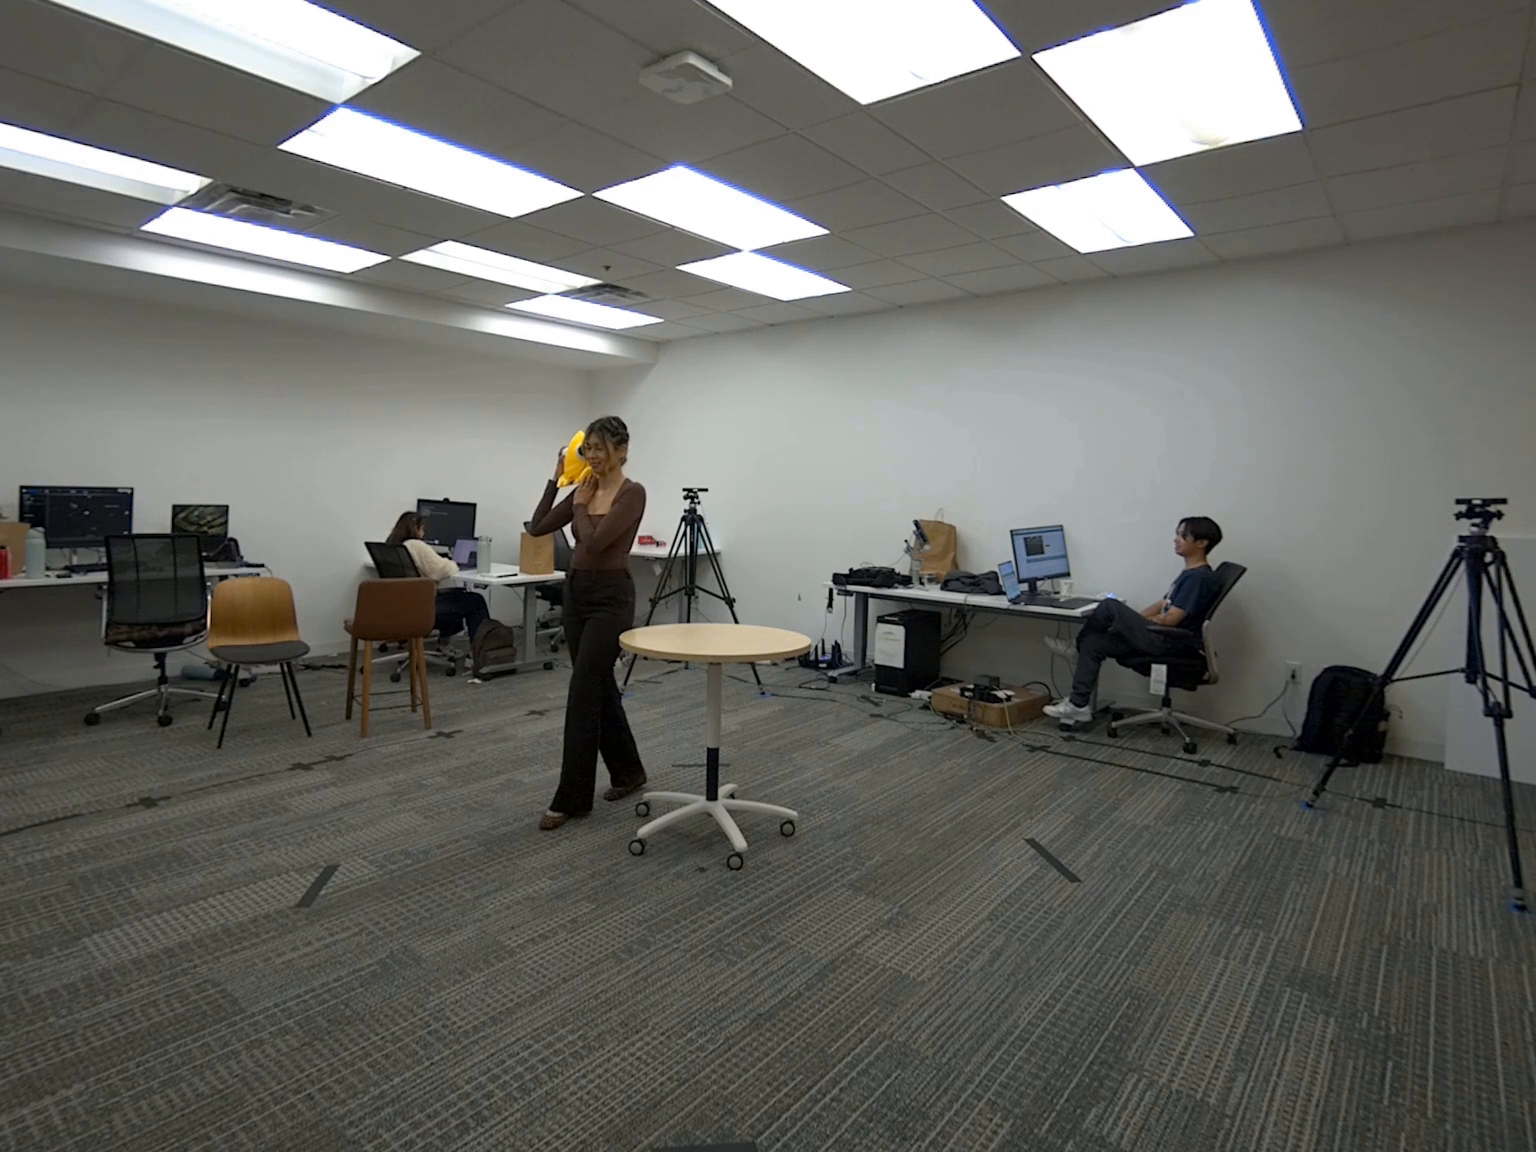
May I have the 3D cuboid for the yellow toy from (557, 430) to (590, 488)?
[{"bbox_3d":[-0.863,-0.535,3.789,0.210,0.229,0.189,-8,7,35],"label":"yellow toy"}]
